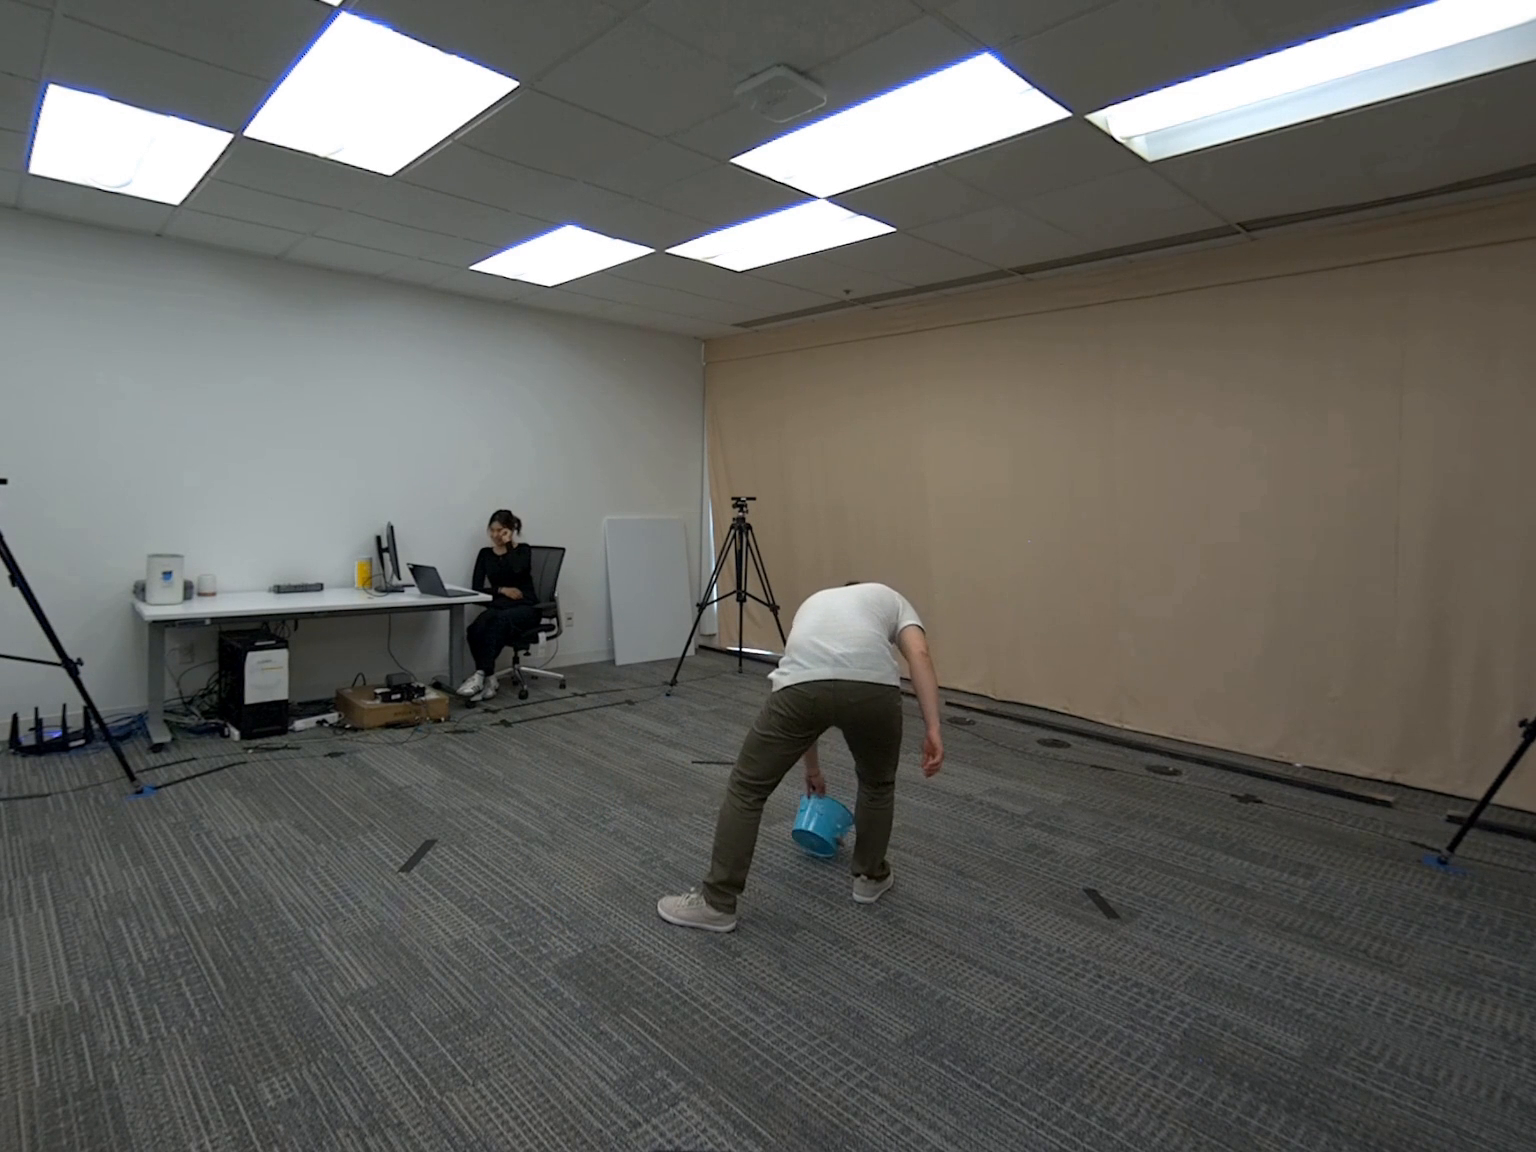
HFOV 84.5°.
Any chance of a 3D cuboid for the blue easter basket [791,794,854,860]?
[{"bbox_3d":[0.194,0.975,3.292,0.249,0.237,0.156,4,45,34],"label":"blue easter basket"}]
